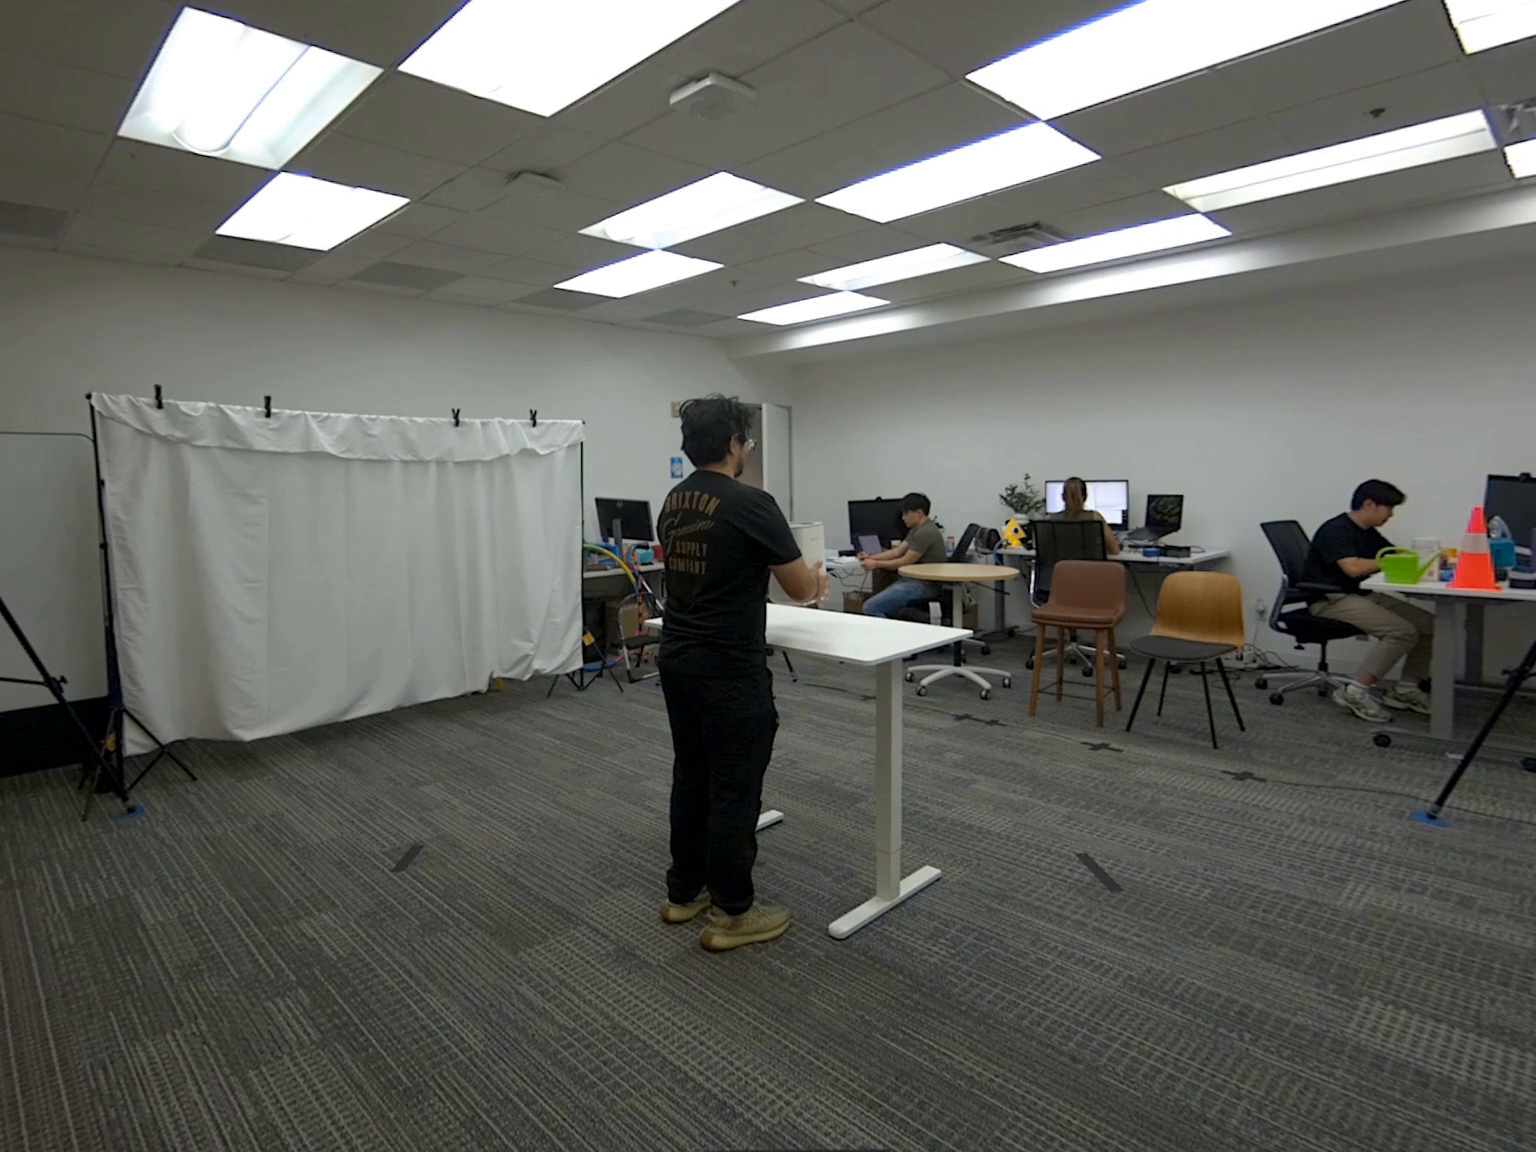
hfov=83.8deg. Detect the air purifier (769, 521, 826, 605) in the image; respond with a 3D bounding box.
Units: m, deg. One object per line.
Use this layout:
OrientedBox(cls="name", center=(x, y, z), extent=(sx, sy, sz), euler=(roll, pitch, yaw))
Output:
OrientedBox(cls="air purifier", center=(0.097, -0.041, 2.906), extent=(0.177, 0.263, 0.167), euler=(4, 10, 41))
